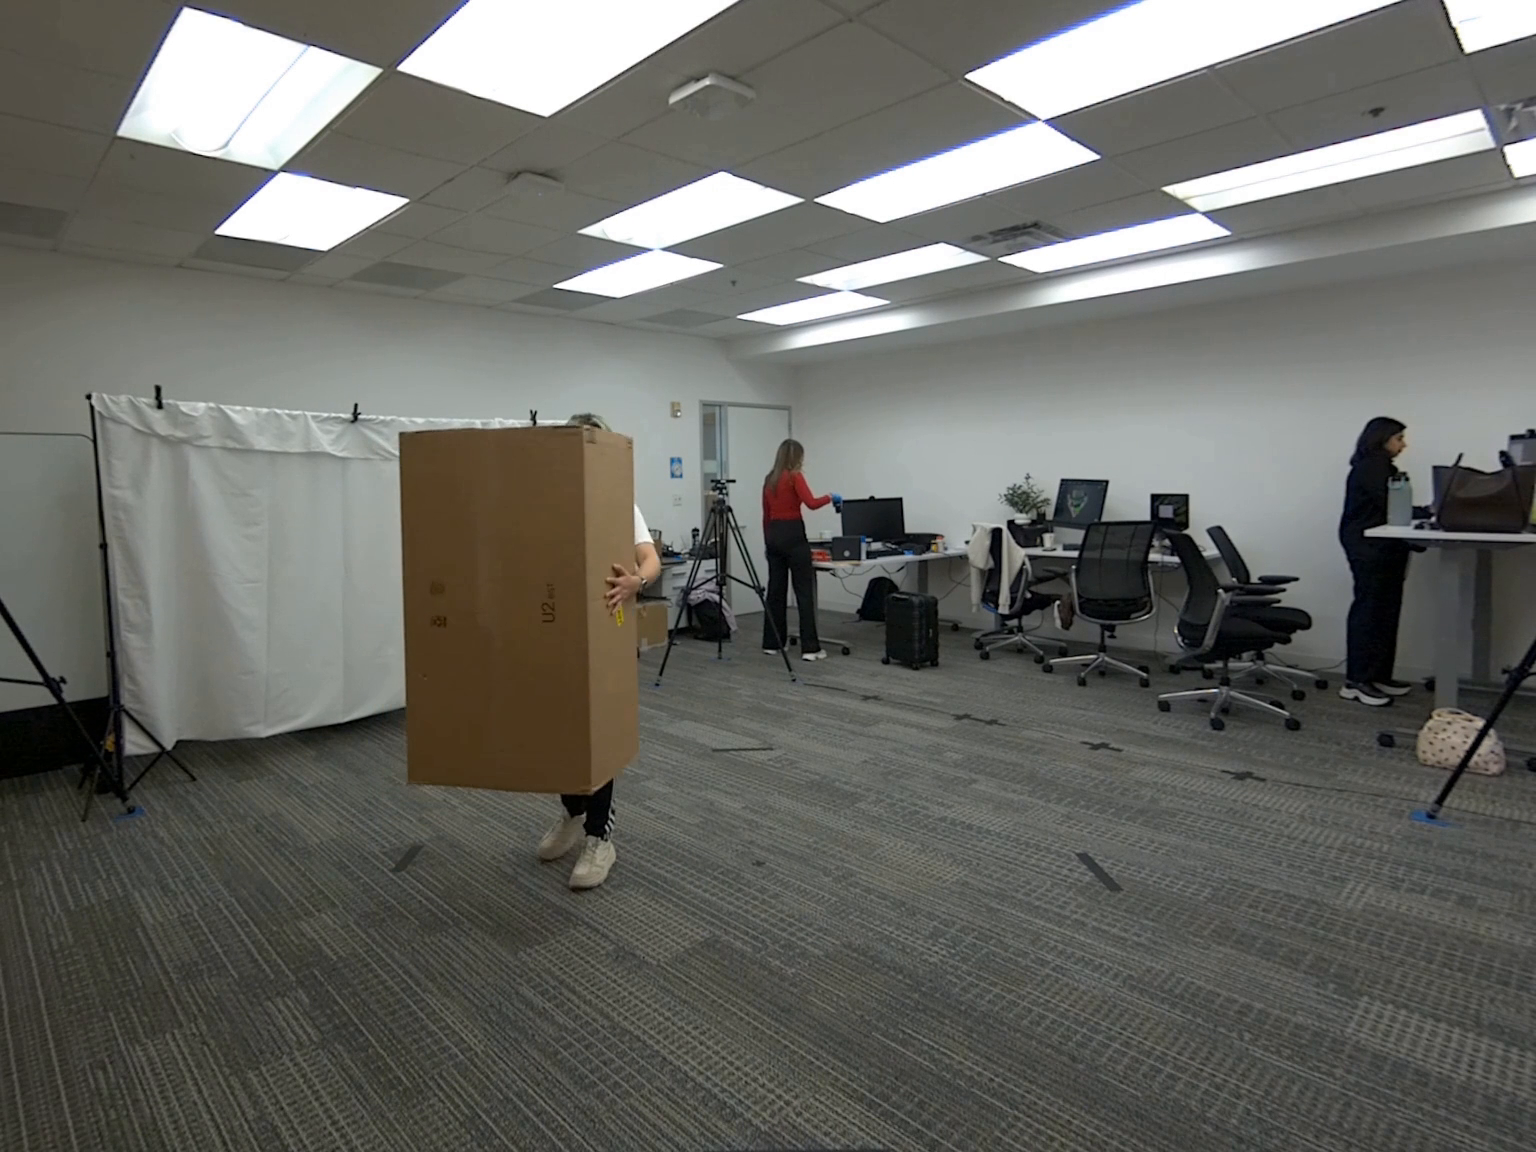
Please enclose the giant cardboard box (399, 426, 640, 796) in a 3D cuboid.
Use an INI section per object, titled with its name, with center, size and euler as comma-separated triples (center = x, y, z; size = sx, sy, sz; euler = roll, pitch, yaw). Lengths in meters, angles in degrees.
[giant cardboard box]
center = -0.739, 0.085, 2.608
size = 0.590, 1.025, 0.443
euler = -1, 2, 10
